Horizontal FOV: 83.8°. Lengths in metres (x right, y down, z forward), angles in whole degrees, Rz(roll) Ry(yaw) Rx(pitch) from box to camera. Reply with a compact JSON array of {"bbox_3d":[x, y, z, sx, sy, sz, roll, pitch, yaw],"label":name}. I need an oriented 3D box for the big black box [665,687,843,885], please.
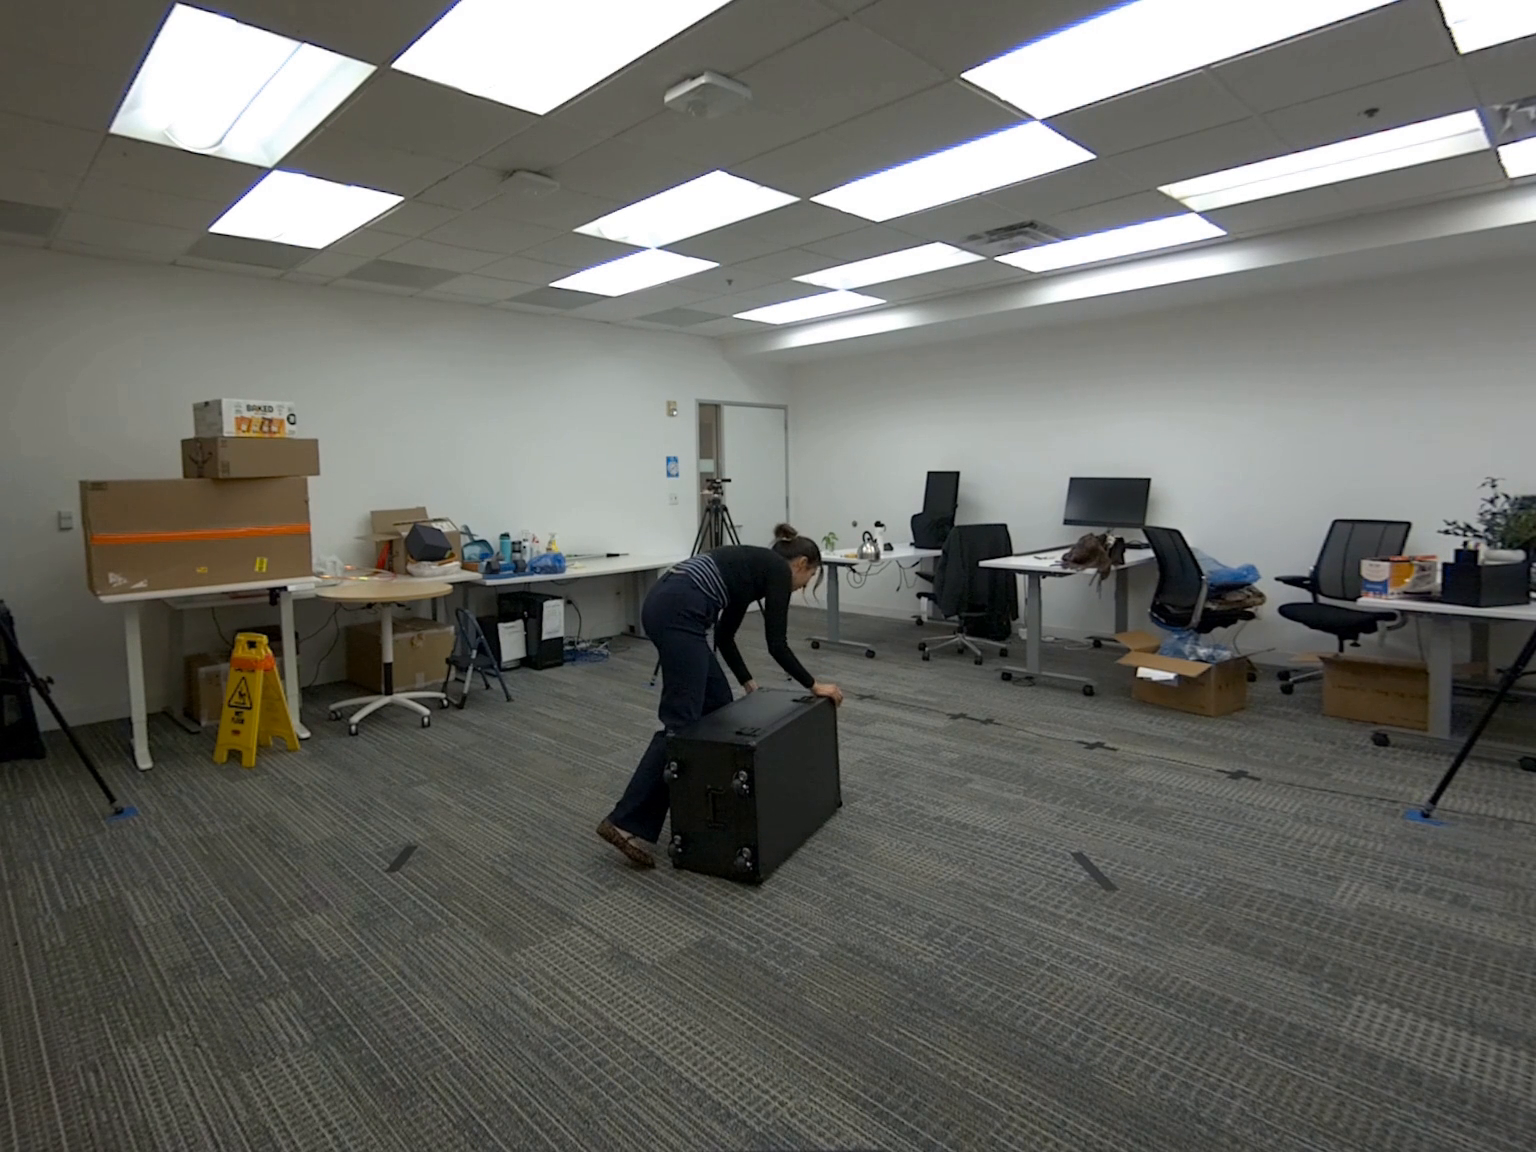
[{"bbox_3d":[-0.053,0.766,3.295,0.405,0.520,0.844,-1,5,26],"label":"big black box"}]
